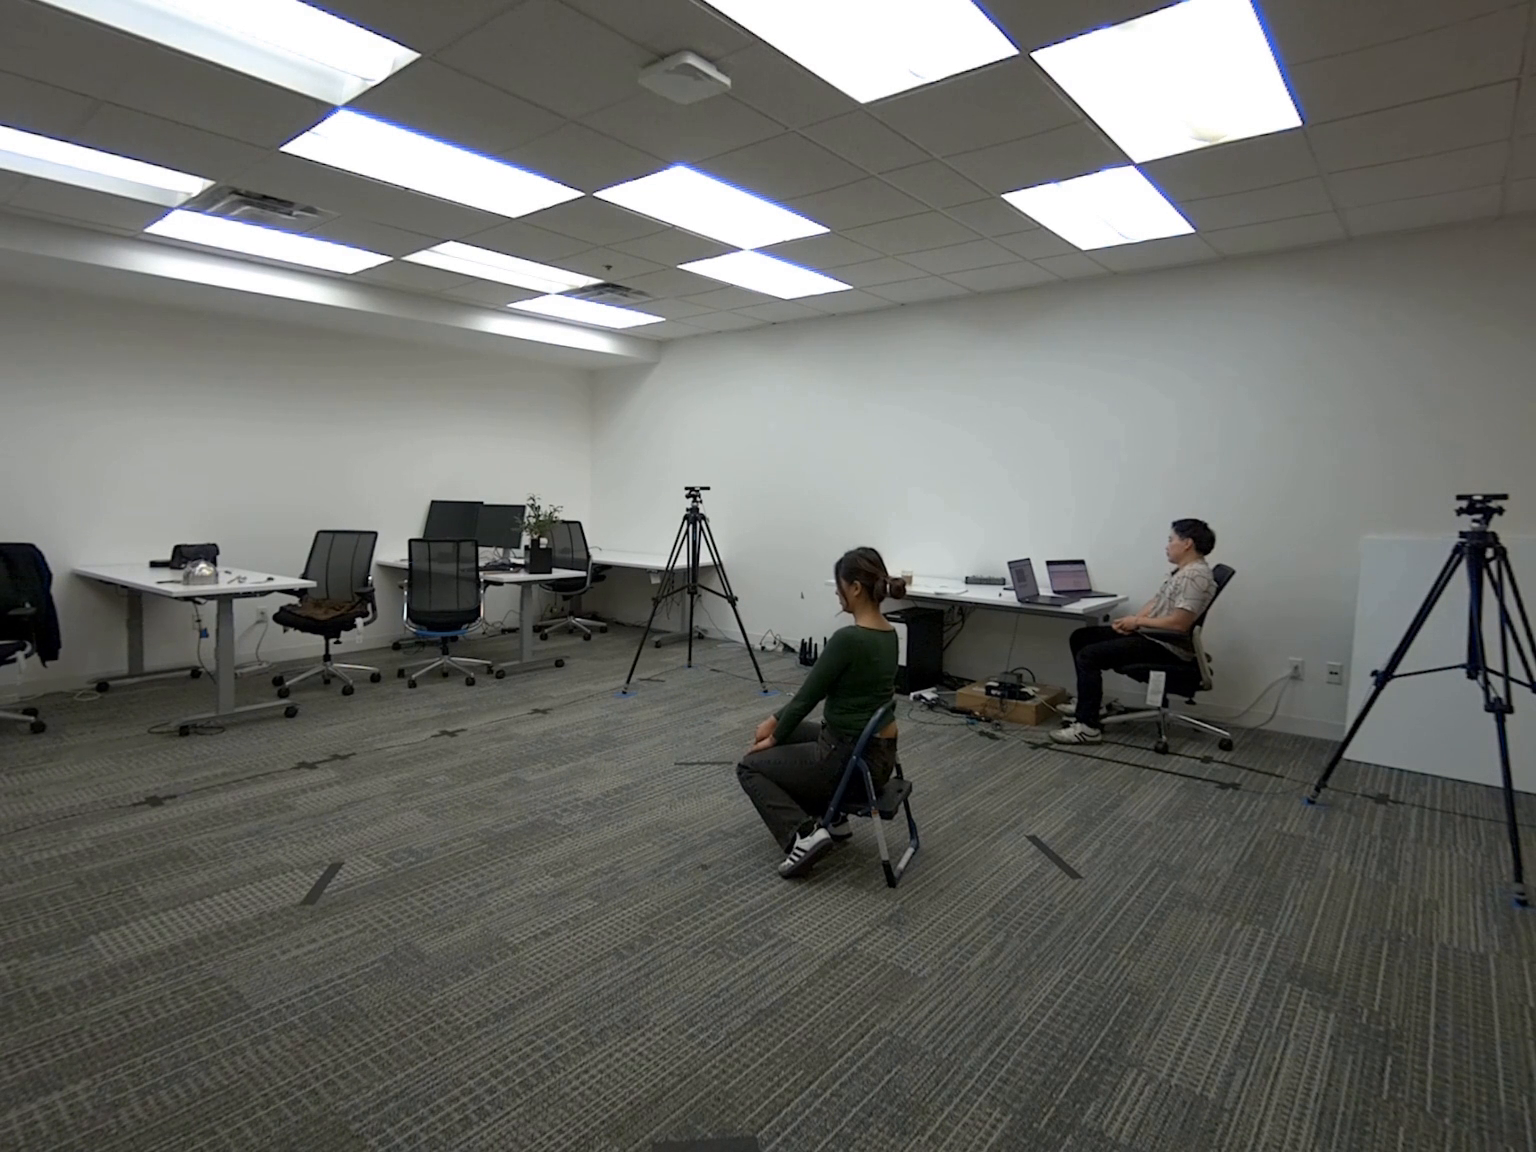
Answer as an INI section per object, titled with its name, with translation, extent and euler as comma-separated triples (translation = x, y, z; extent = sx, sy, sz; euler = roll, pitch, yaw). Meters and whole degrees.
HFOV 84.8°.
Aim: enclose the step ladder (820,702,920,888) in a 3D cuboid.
[step ladder]
translation = 0.365, 0.770, 3.212
extent = 0.358, 0.604, 0.421
euler = 3, 4, 23
